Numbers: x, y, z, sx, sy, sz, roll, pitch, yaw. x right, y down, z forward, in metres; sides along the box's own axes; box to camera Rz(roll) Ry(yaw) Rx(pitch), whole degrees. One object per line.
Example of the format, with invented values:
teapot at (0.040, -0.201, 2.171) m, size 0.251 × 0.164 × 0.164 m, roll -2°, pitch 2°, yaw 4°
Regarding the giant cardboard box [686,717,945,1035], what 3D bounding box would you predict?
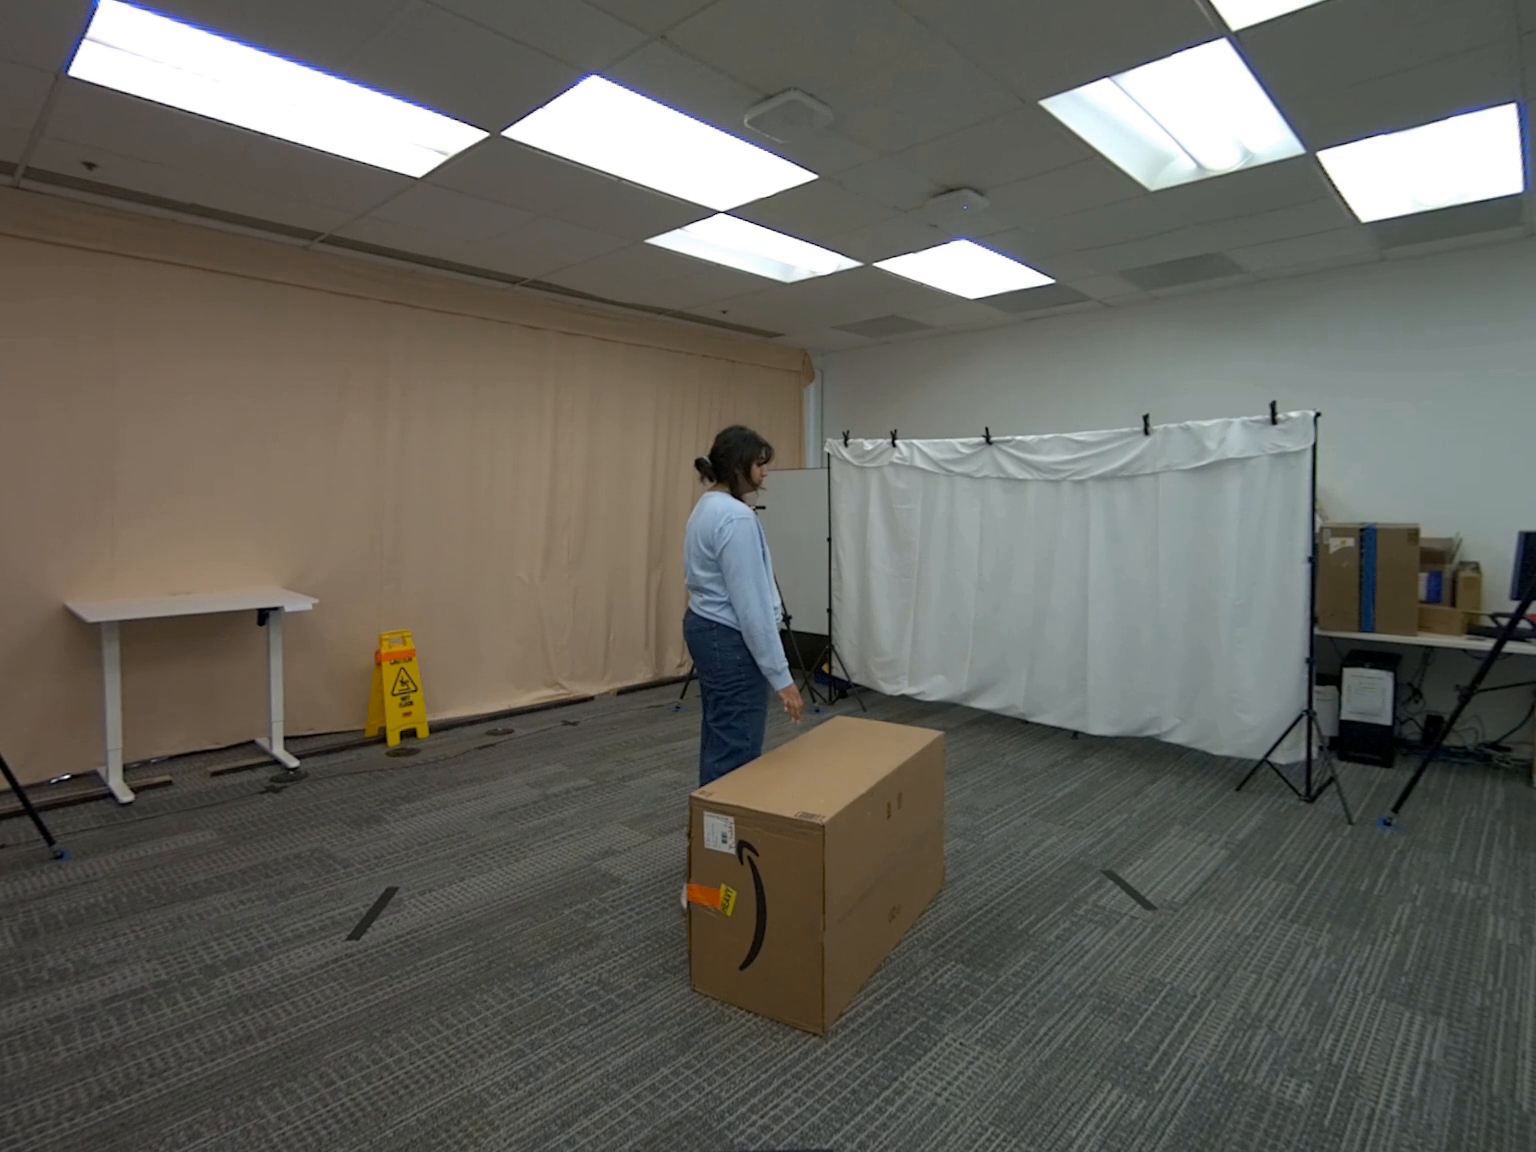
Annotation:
giant cardboard box at (0.212, 0.879, 2.720) m, size 0.460 × 0.582 × 1.000 m, roll 3°, pitch 5°, yaw 30°
